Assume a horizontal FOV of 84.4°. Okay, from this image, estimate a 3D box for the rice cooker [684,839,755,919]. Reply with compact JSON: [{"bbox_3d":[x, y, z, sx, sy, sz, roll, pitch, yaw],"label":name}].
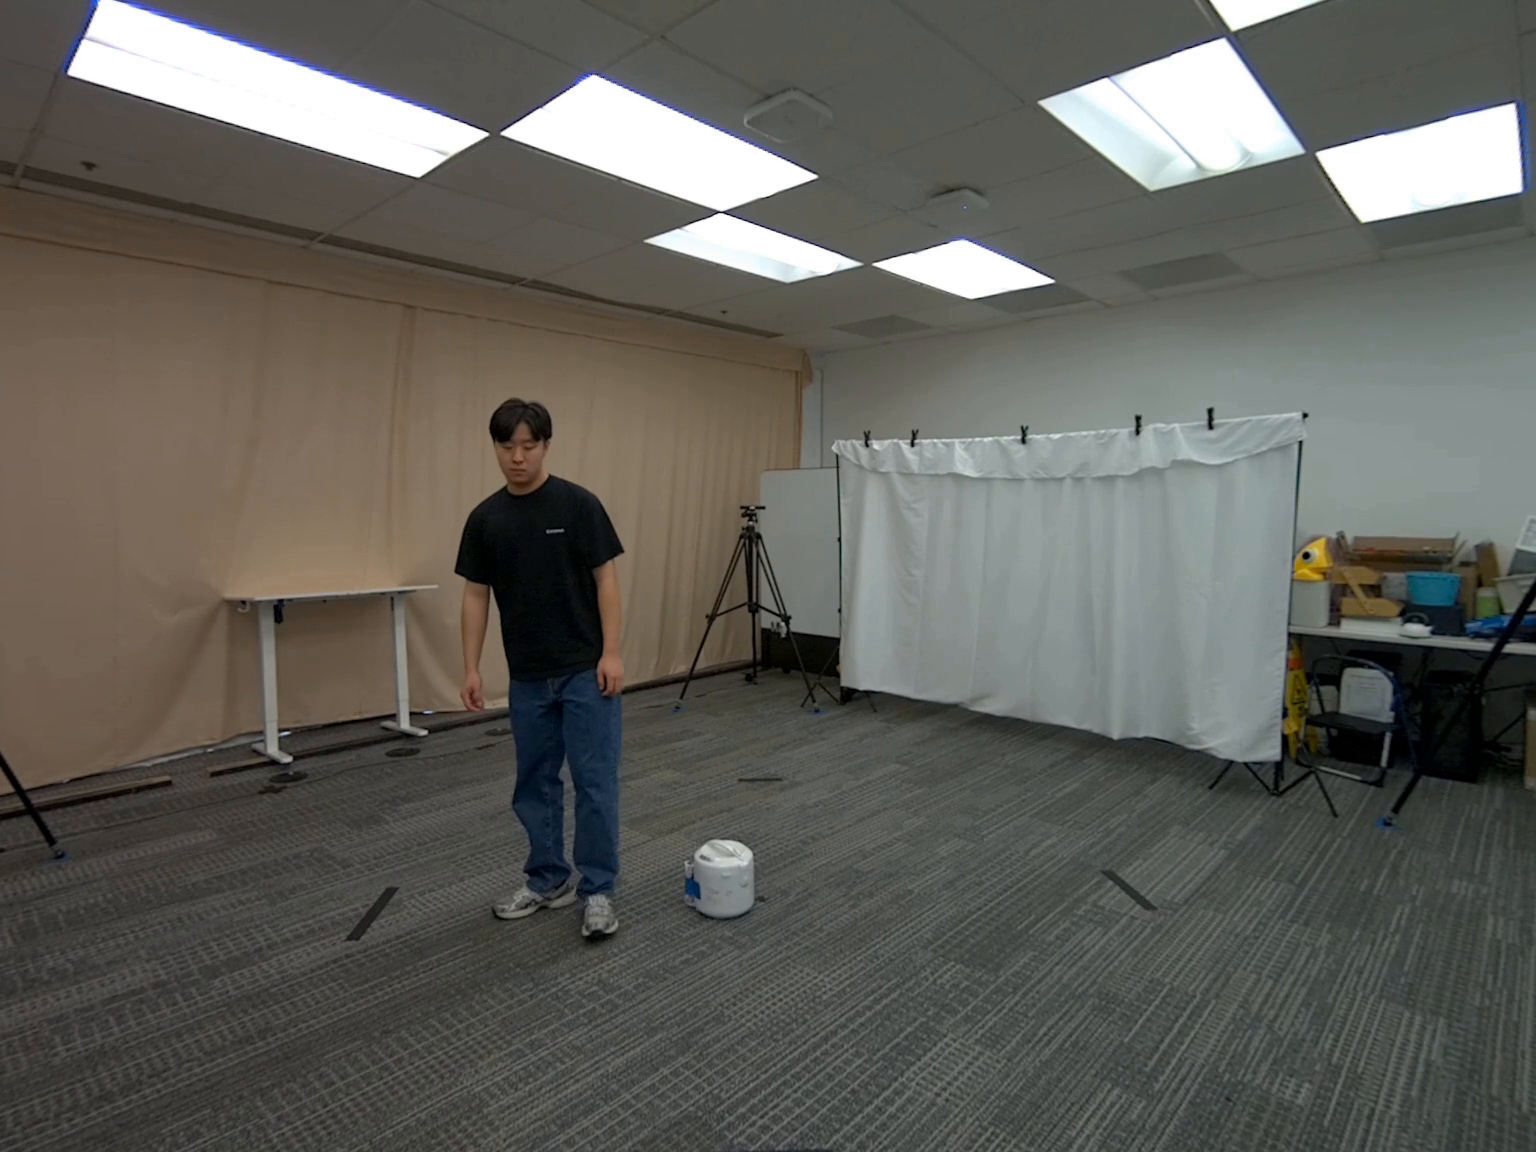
[{"bbox_3d":[-0.151,1.036,2.907,0.228,0.232,0.211,4,6,45],"label":"rice cooker"}]
